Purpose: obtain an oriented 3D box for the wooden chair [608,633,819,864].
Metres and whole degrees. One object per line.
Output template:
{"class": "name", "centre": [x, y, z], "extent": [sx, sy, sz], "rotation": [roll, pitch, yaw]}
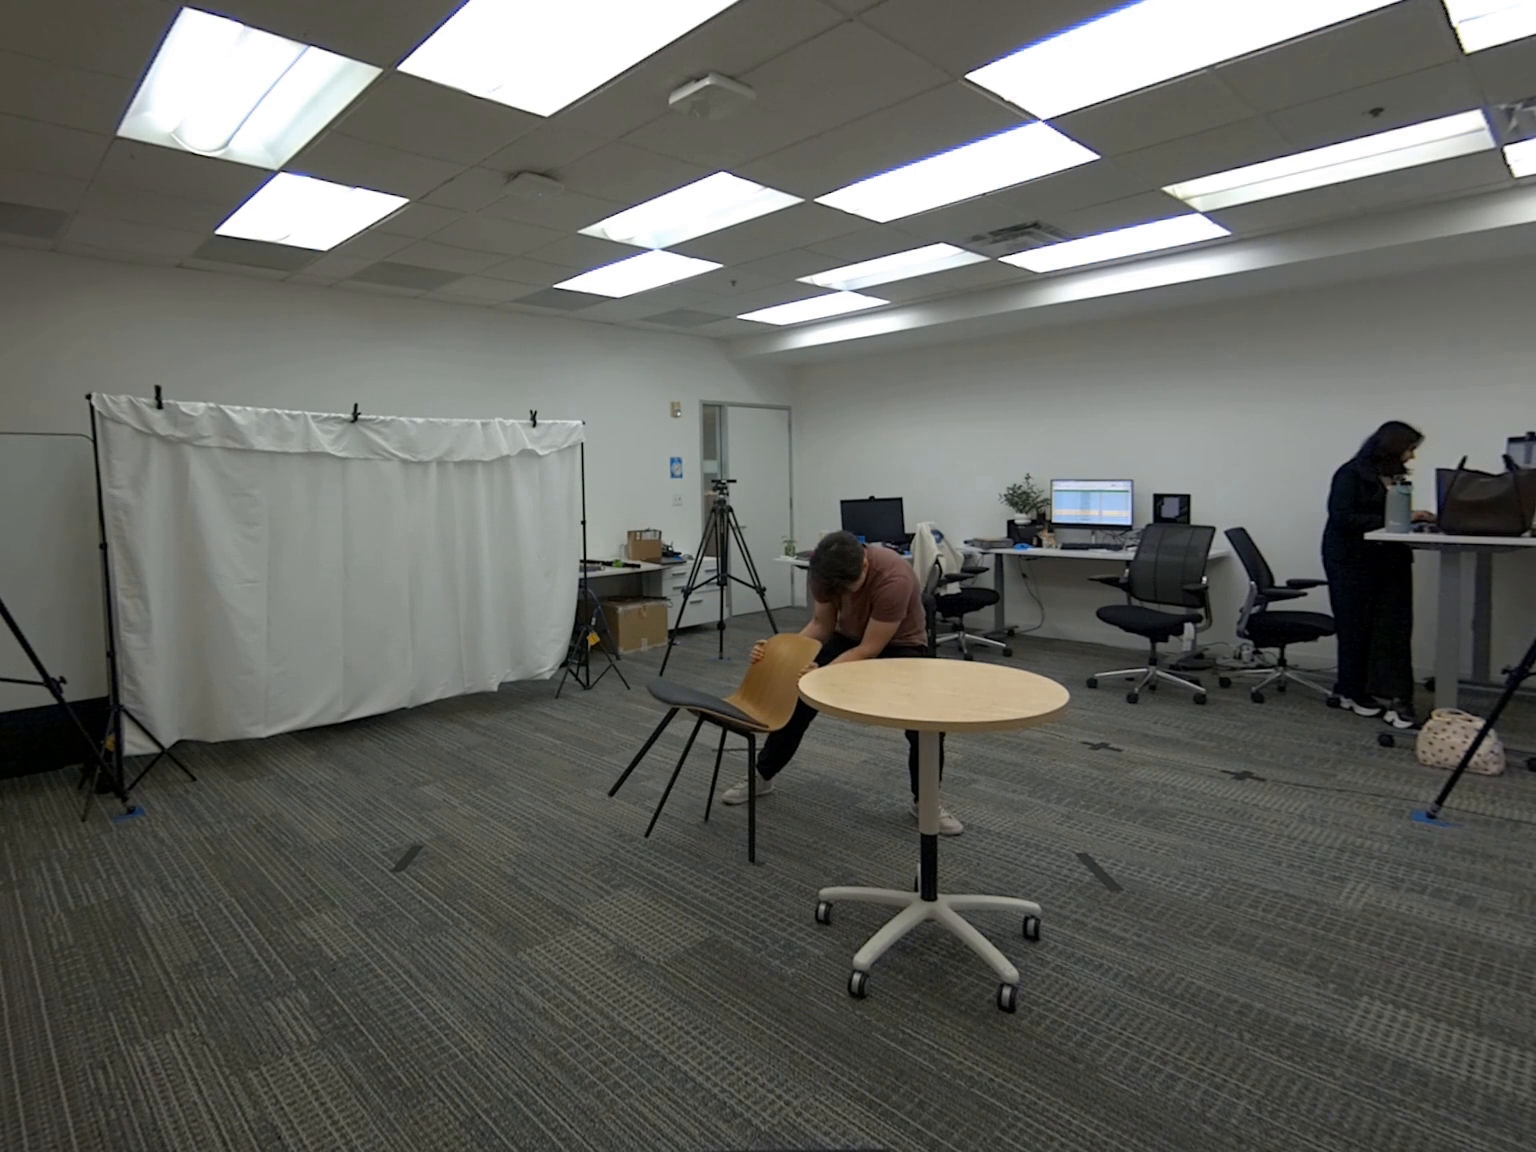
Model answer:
{"class": "wooden chair", "centre": [-0.209, 0.548, 3.256], "extent": [0.509, 0.880, 0.490], "rotation": [26, -8, -25]}
